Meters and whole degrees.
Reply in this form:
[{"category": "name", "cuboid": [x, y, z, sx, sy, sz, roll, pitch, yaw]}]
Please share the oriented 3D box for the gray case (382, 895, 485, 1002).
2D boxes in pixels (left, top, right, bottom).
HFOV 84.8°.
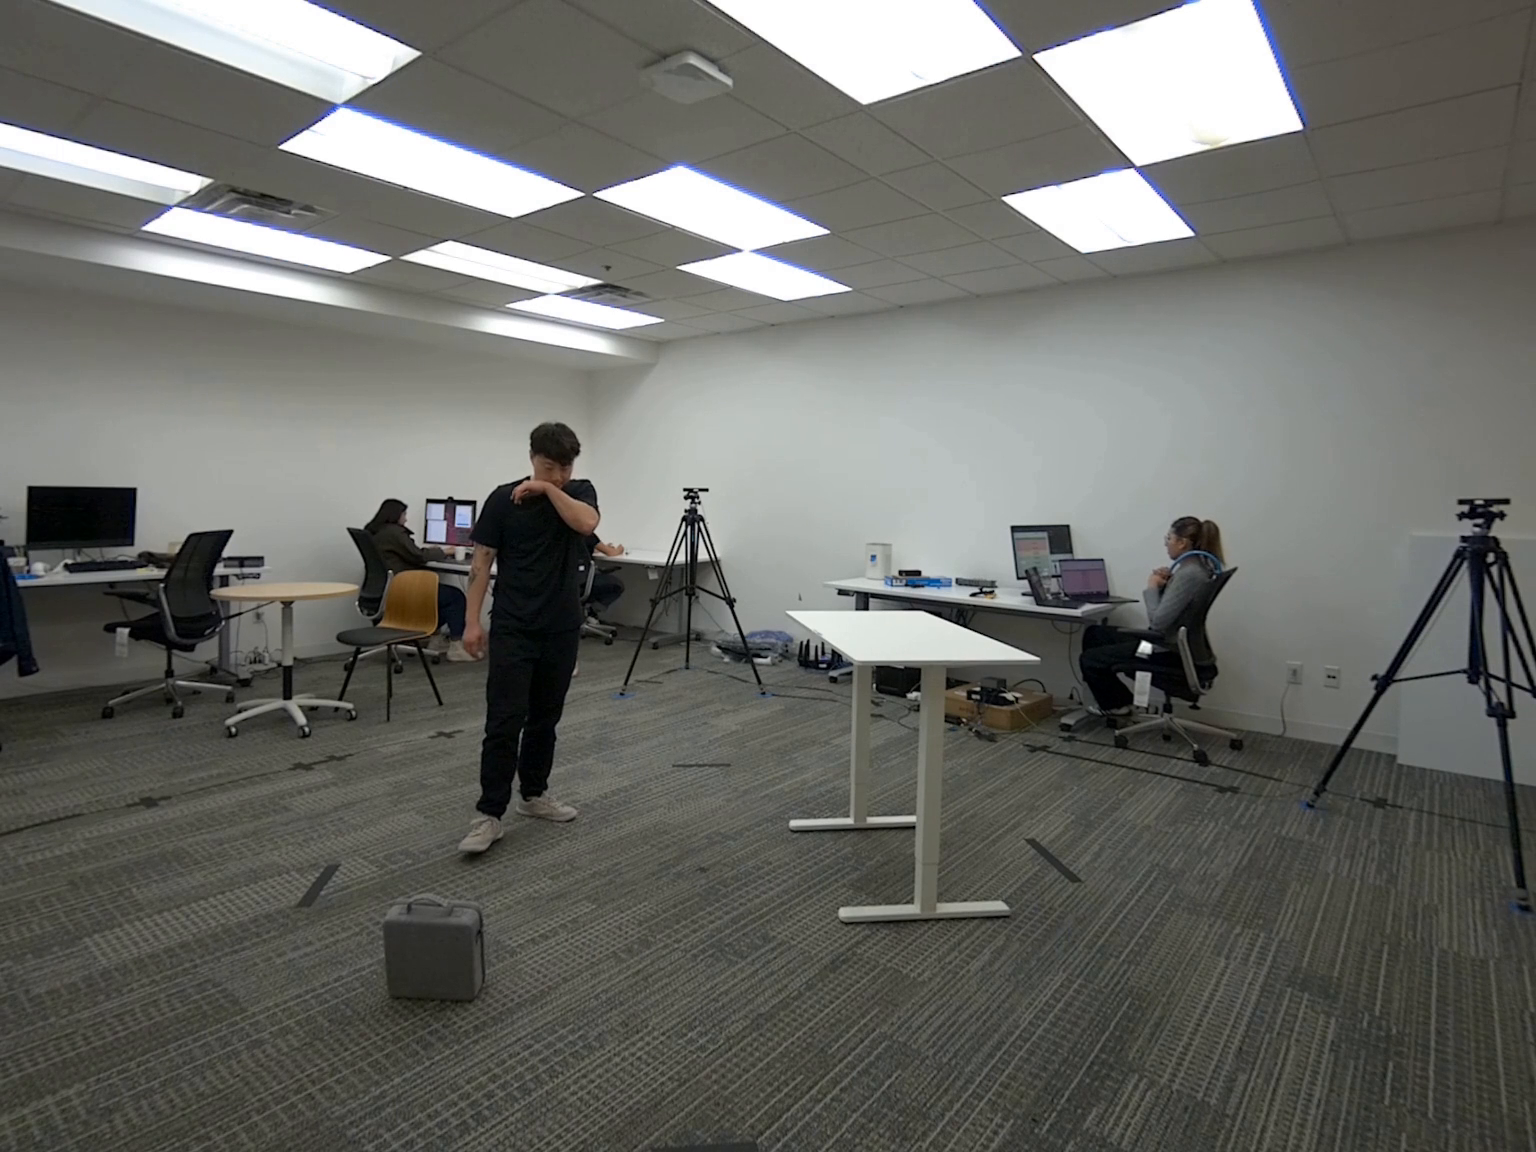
[{"category": "gray case", "cuboid": [-0.913, 1.004, 2.308, 0.258, 0.258, 0.105, 1, 11, 3]}]
